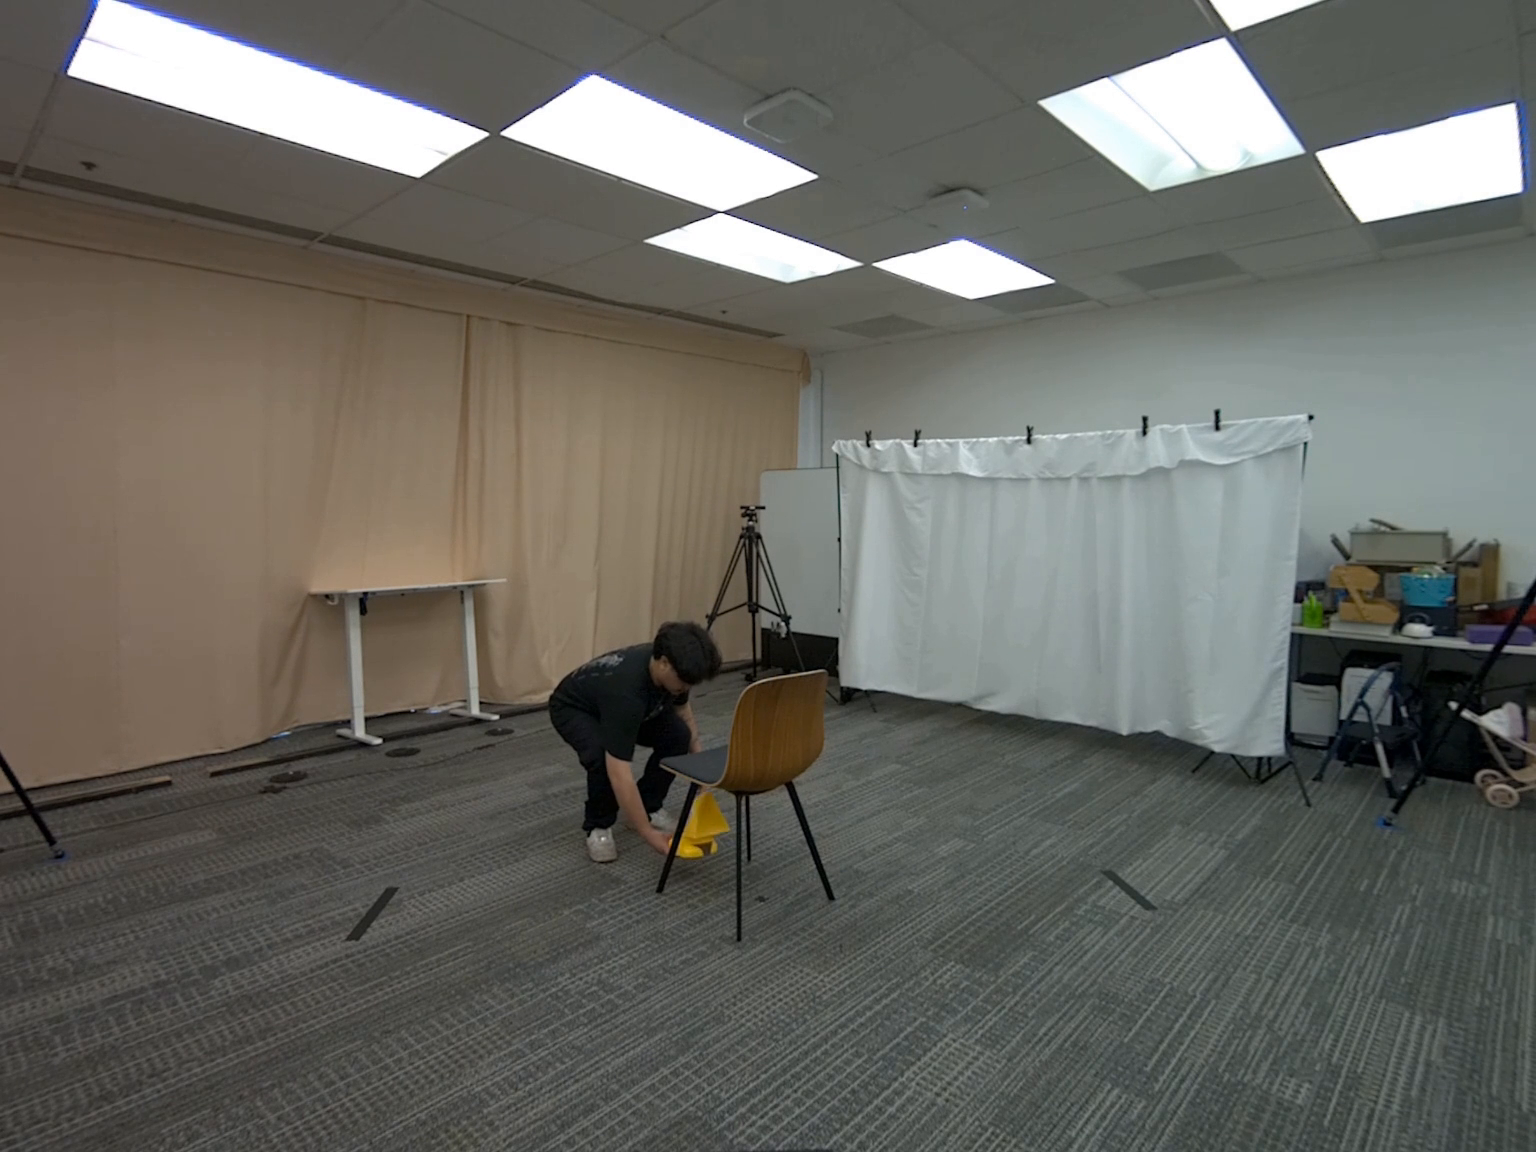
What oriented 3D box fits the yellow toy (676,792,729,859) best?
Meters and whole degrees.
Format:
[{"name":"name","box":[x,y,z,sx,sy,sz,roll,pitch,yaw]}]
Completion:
[{"name":"yellow toy","box":[-0.274,0.925,3.177,0.199,0.231,0.198,2,-5,38]}]
